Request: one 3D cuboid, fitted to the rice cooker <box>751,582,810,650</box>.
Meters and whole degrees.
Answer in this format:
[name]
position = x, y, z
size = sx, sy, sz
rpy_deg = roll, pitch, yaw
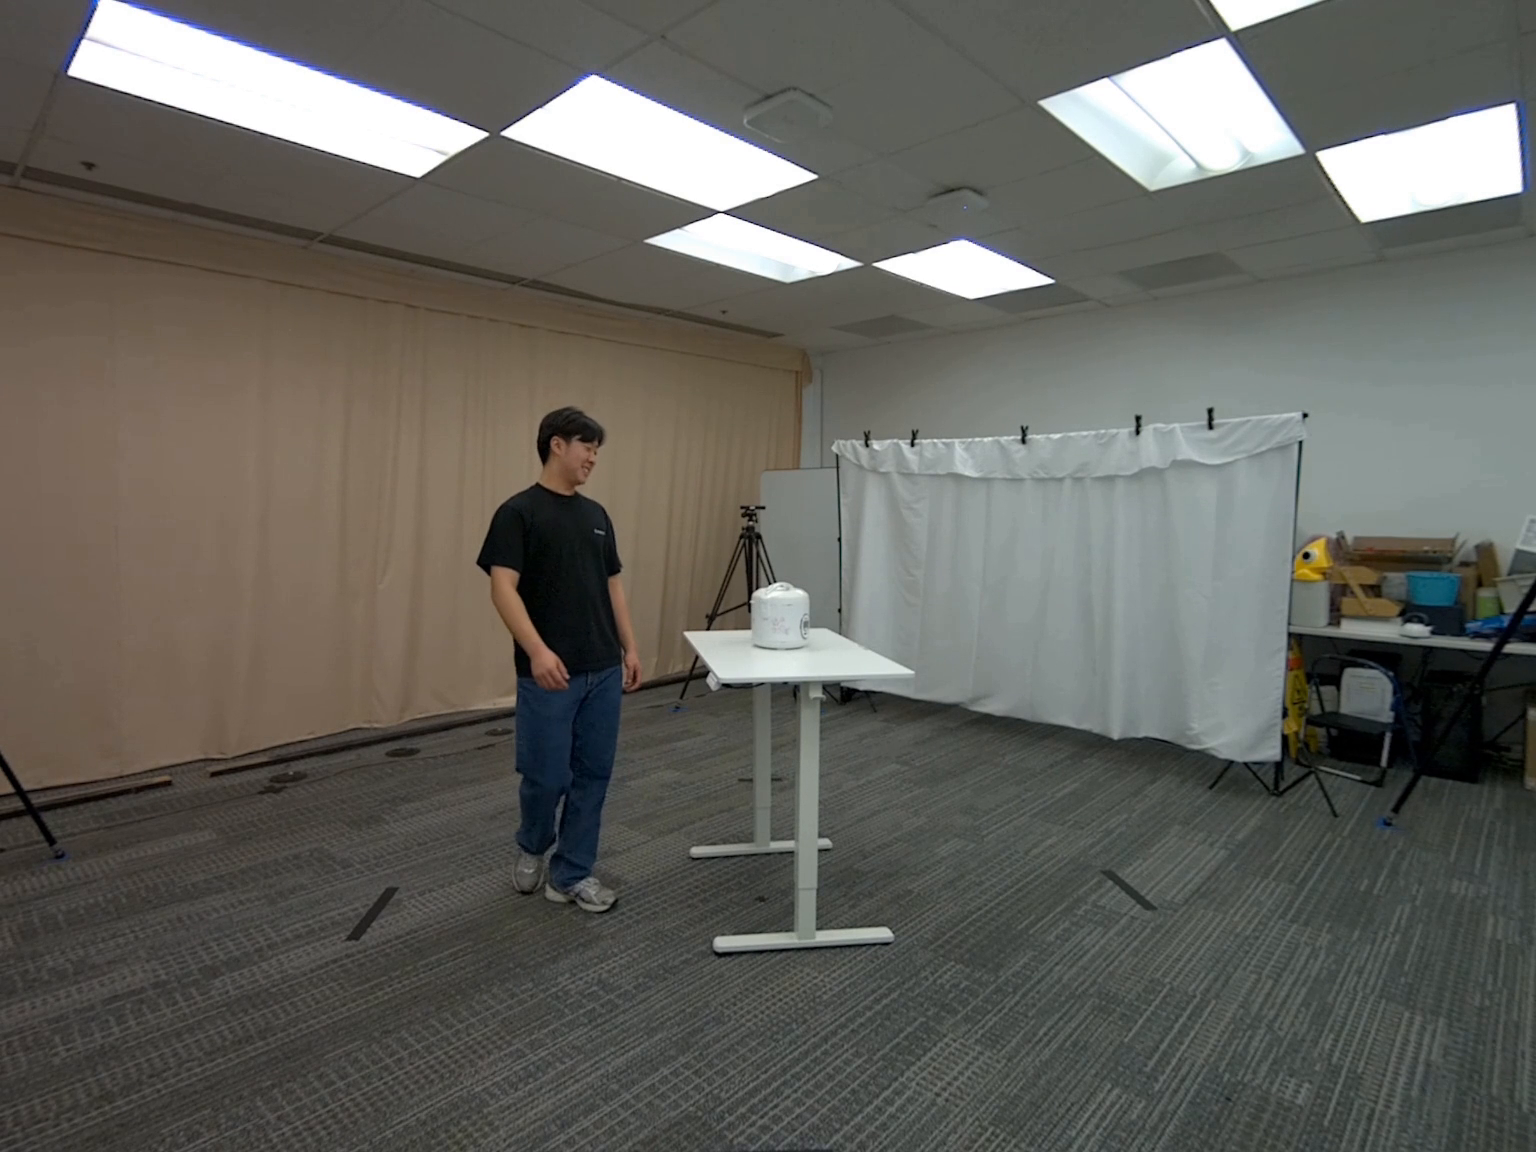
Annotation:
[rice cooker]
position = 0.047, 0.140, 3.046
size = 0.224, 0.232, 0.214
rpy_deg = 0, 3, 35
